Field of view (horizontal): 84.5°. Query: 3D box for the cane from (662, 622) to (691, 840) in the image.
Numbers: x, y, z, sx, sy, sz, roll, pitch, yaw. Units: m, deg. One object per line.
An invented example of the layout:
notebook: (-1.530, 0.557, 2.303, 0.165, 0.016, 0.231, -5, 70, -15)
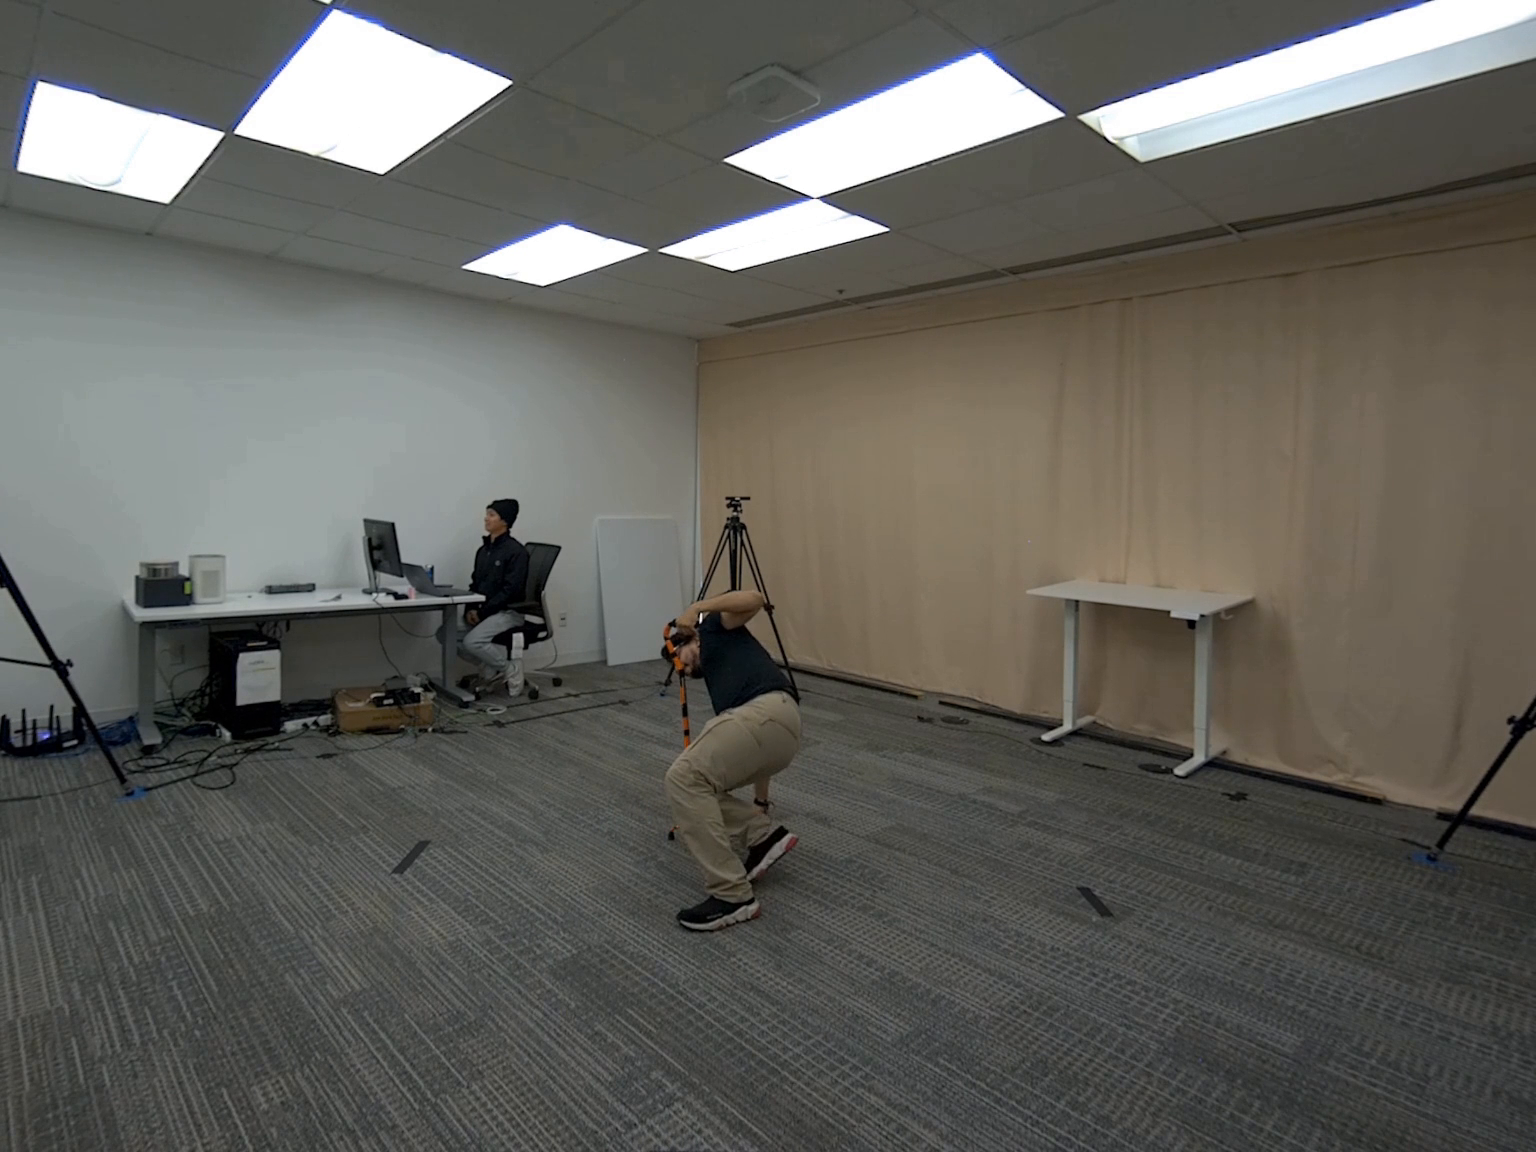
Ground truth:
cane: (-0.327, 0.627, 3.380, 0.211, 0.903, 0.149, 0, 8, 33)
